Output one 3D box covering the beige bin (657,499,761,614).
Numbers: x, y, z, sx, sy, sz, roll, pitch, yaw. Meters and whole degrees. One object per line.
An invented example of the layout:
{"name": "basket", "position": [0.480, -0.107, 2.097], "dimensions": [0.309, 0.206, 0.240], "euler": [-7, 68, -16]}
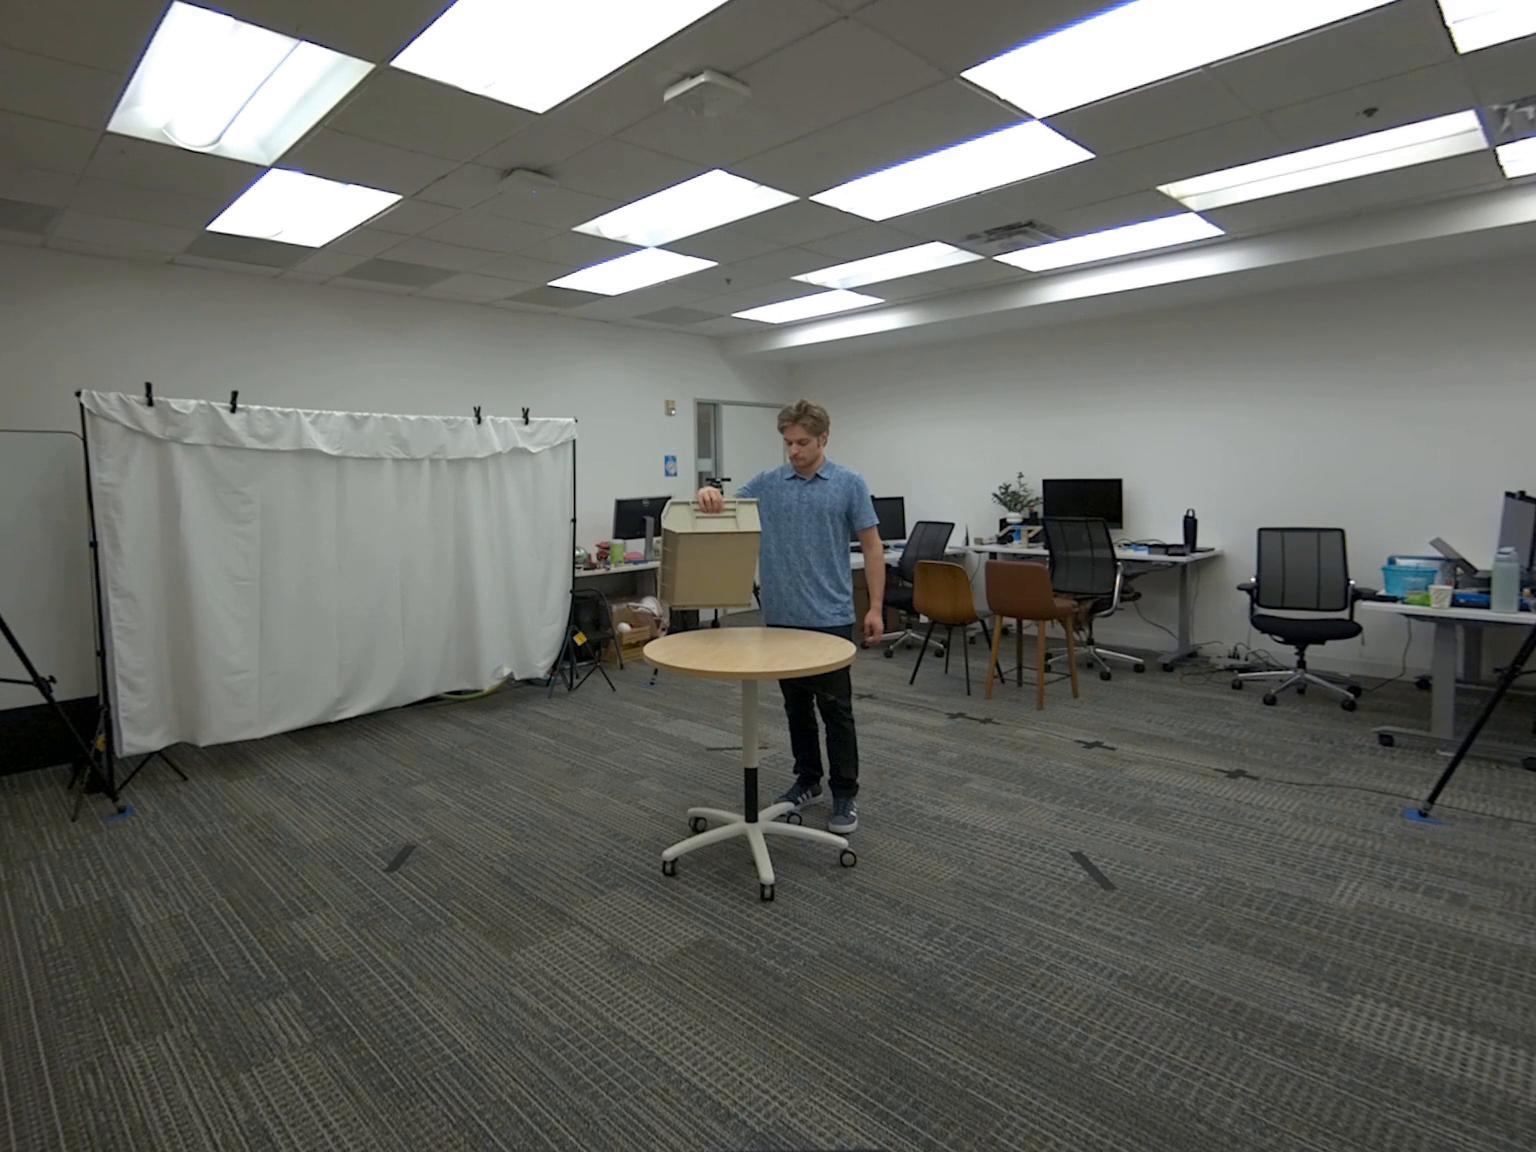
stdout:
{"name": "beige bin", "position": [-0.224, -0.075, 3.291], "dimensions": [0.374, 0.413, 0.195], "euler": [0, 44, -9]}
